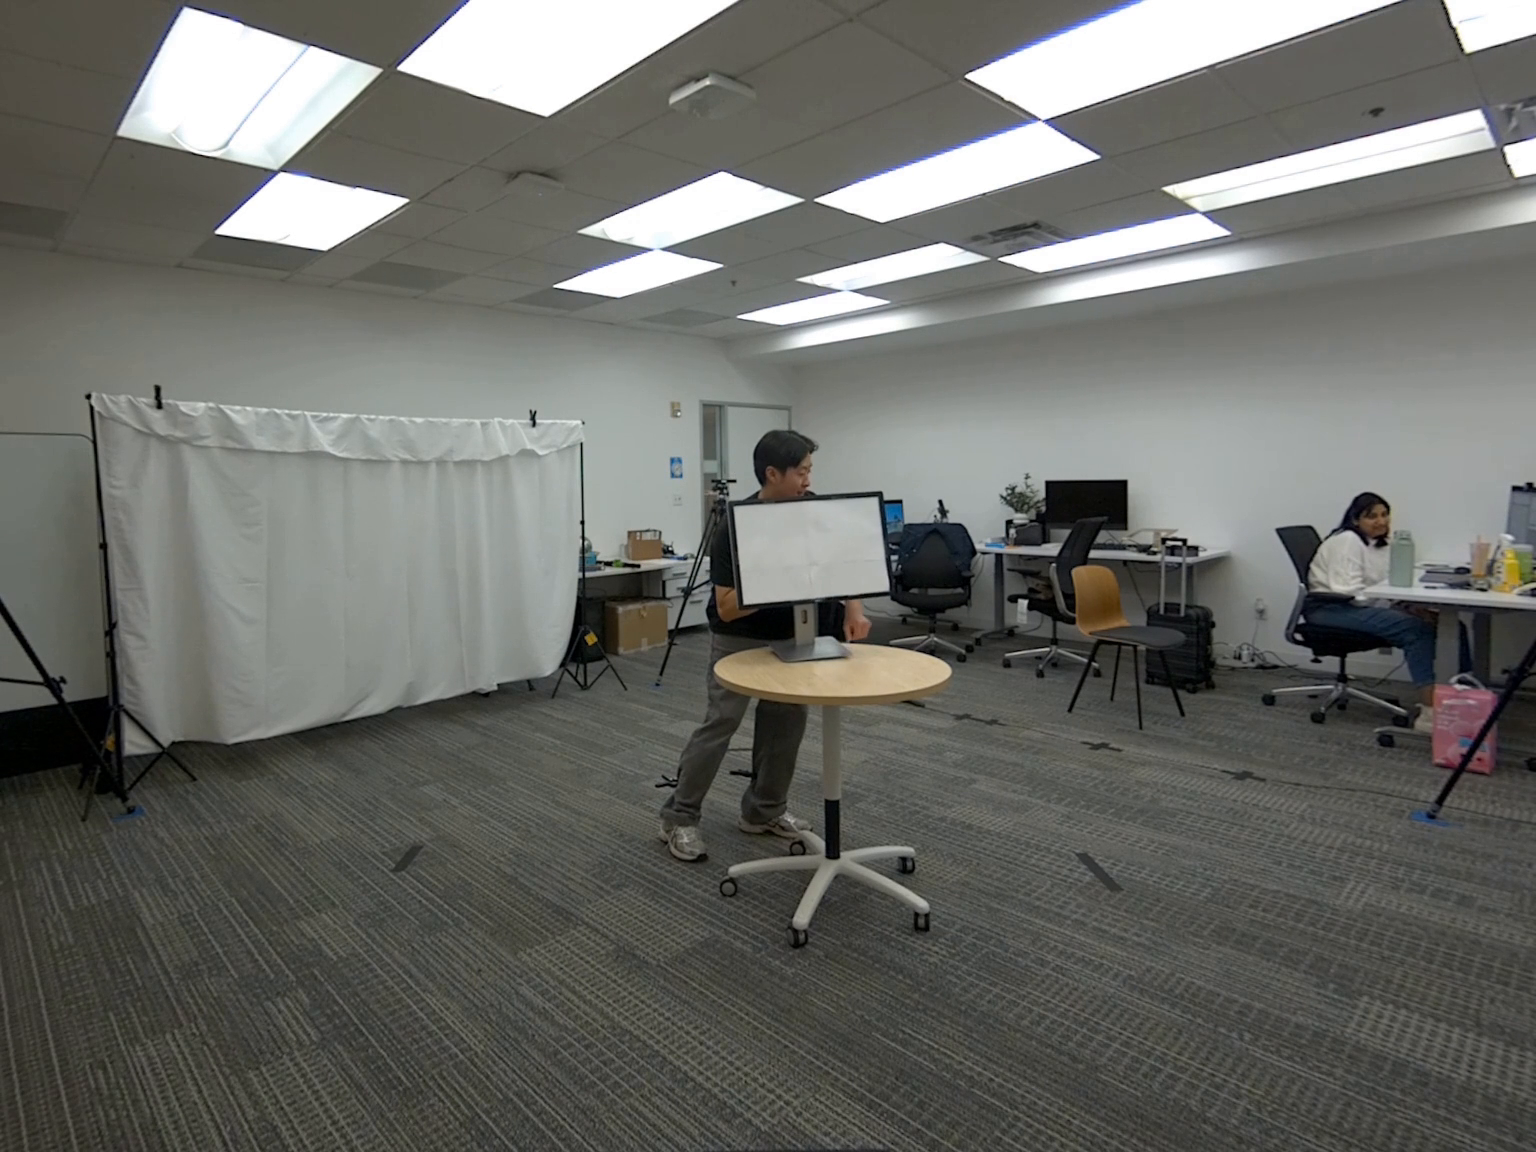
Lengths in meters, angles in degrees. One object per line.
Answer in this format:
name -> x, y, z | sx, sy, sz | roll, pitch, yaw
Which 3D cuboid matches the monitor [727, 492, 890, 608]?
monitor -> 0.147, 0.008, 2.927 | 0.555, 0.561, 0.227 | -4, 10, -13
